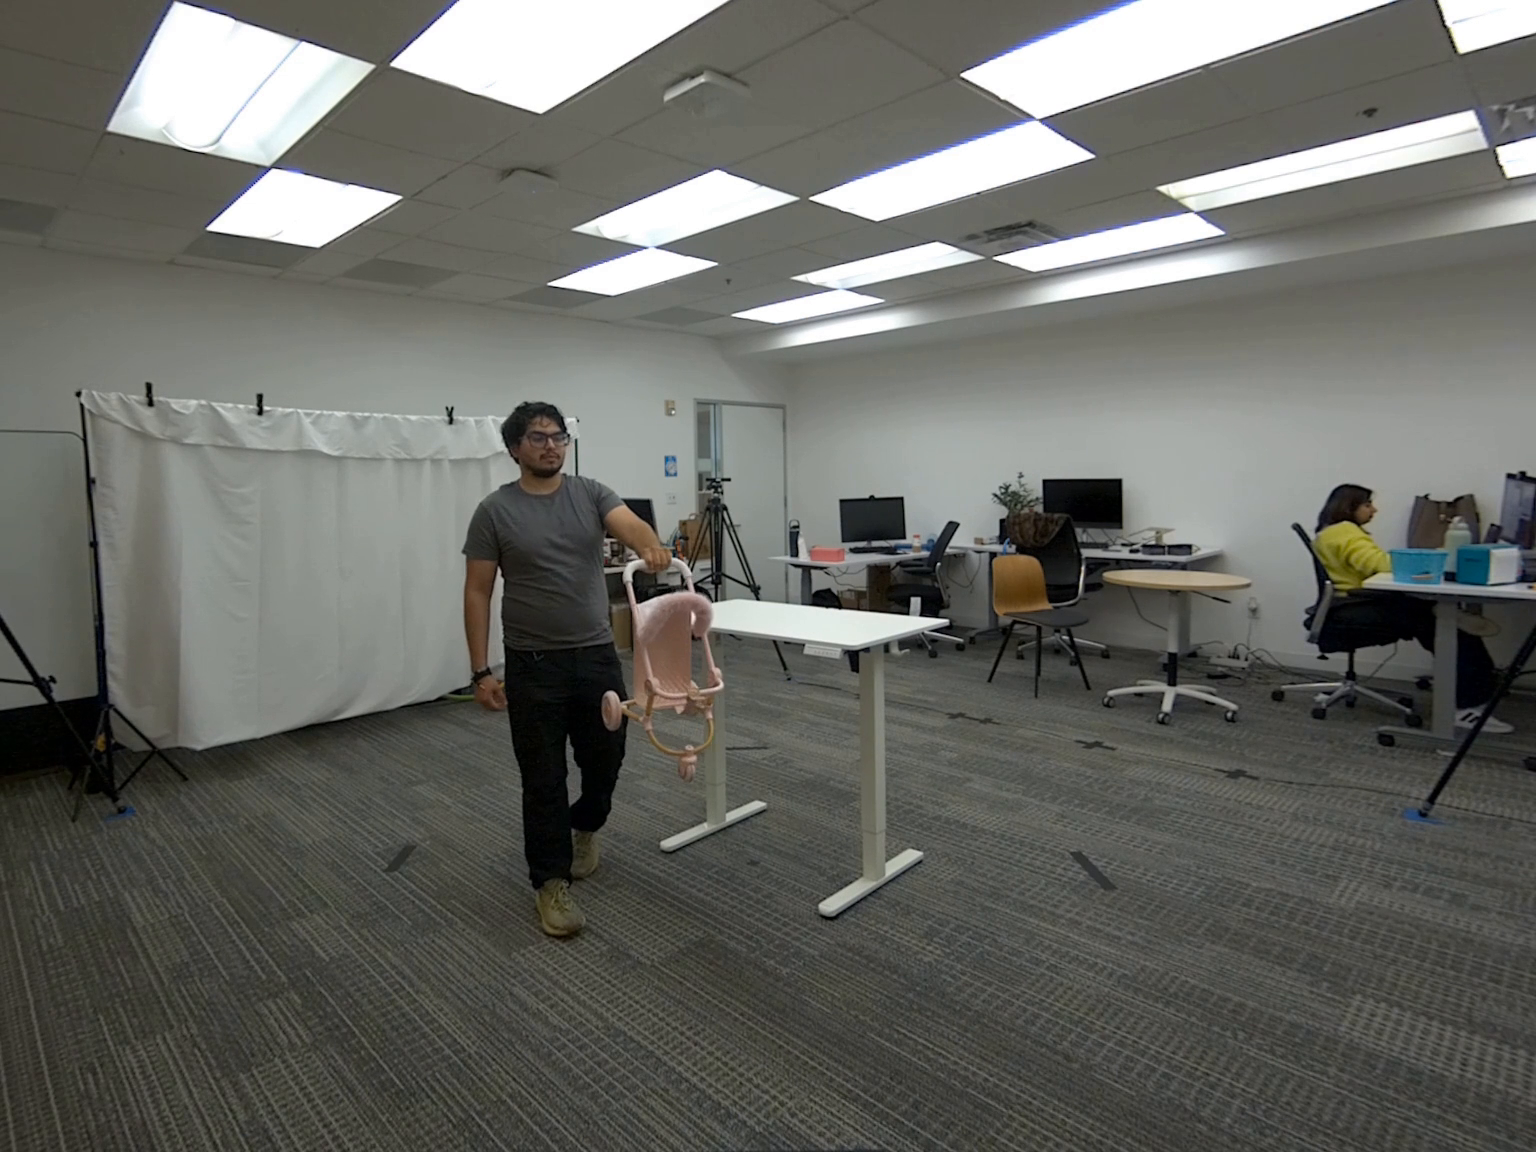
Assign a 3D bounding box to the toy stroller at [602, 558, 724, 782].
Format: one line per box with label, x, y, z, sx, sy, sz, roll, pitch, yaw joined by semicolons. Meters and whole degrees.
toy stroller;-0.268;0.253;2.334;0.275;0.529;0.353;-2;16;-28
